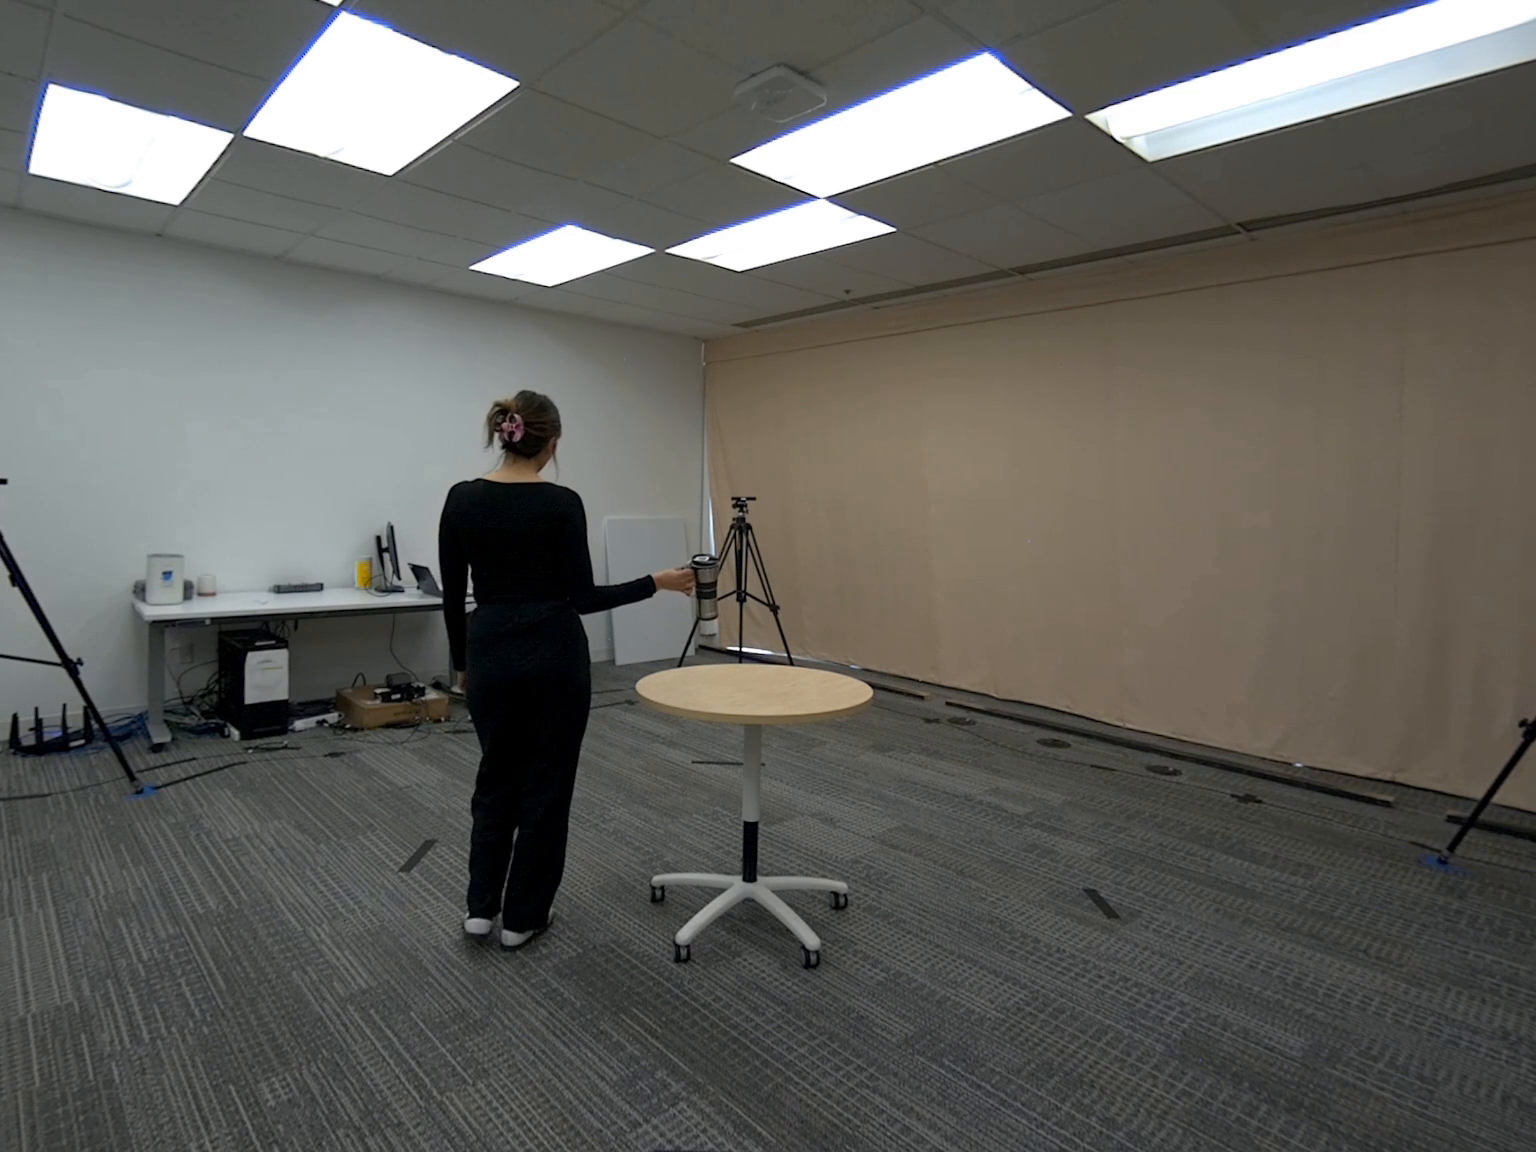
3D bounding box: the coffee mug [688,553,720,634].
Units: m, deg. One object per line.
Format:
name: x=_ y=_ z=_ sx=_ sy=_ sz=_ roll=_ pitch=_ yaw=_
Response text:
coffee mug: x=-0.223 y=0.039 z=2.683 sx=0.123 sy=0.200 sz=0.088 roll=5 pitch=20 yaw=13
